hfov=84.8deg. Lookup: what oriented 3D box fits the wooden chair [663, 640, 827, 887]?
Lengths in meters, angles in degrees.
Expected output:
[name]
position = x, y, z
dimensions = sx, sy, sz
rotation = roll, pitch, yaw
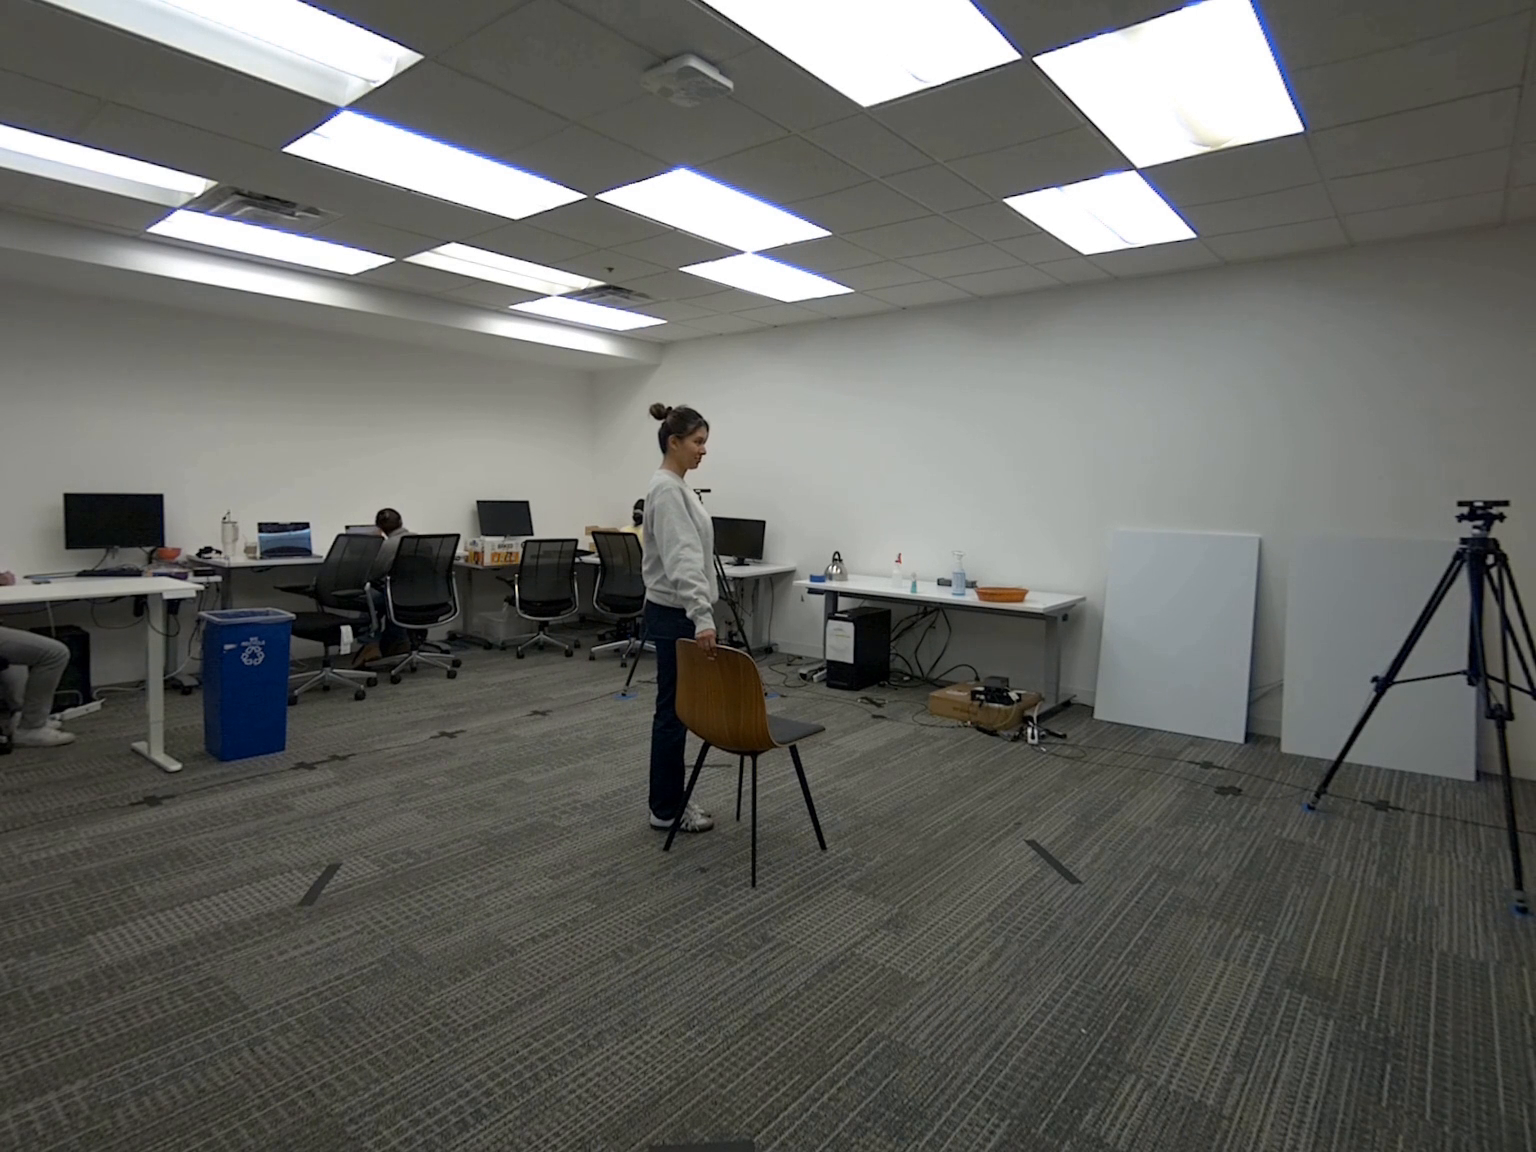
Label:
[wooden chair]
position = -0.081, 0.635, 3.267
dimensions = 0.494, 0.872, 0.509
rotation = 3, 8, 39
